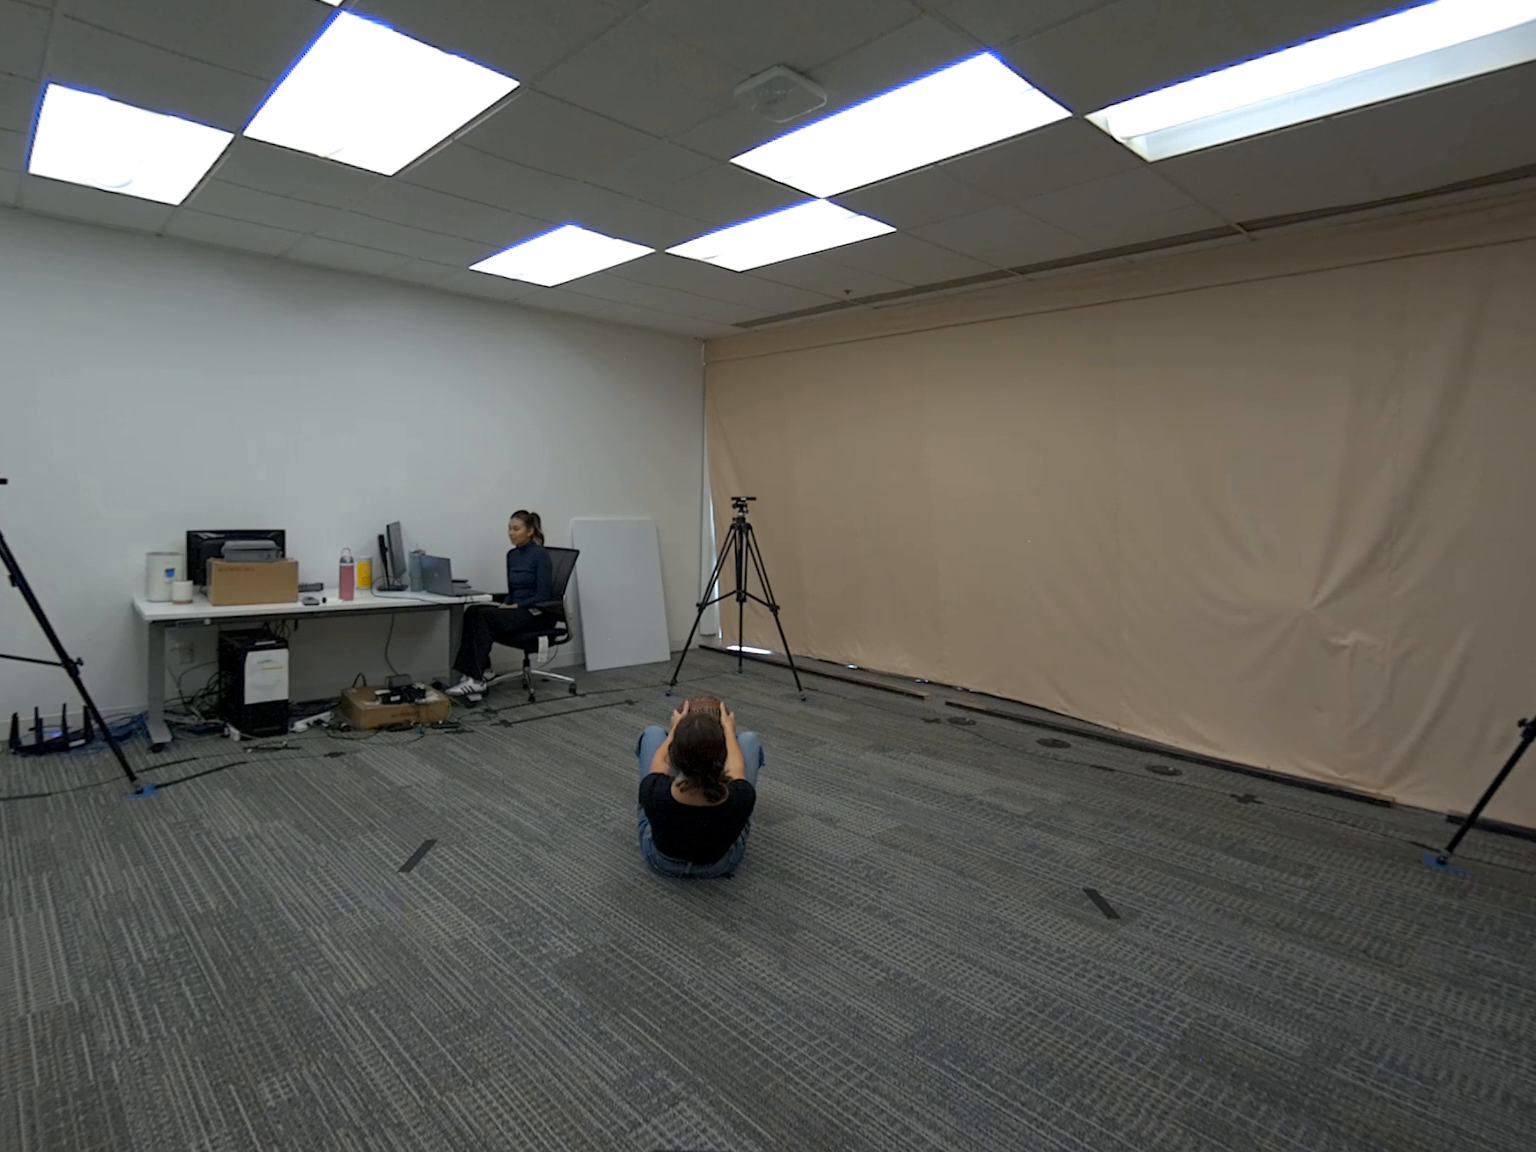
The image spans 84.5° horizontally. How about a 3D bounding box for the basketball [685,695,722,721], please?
[{"bbox_3d":[-0.273,0.603,3.480,0.236,0.235,0.237,1,4,-1],"label":"basketball"}]
